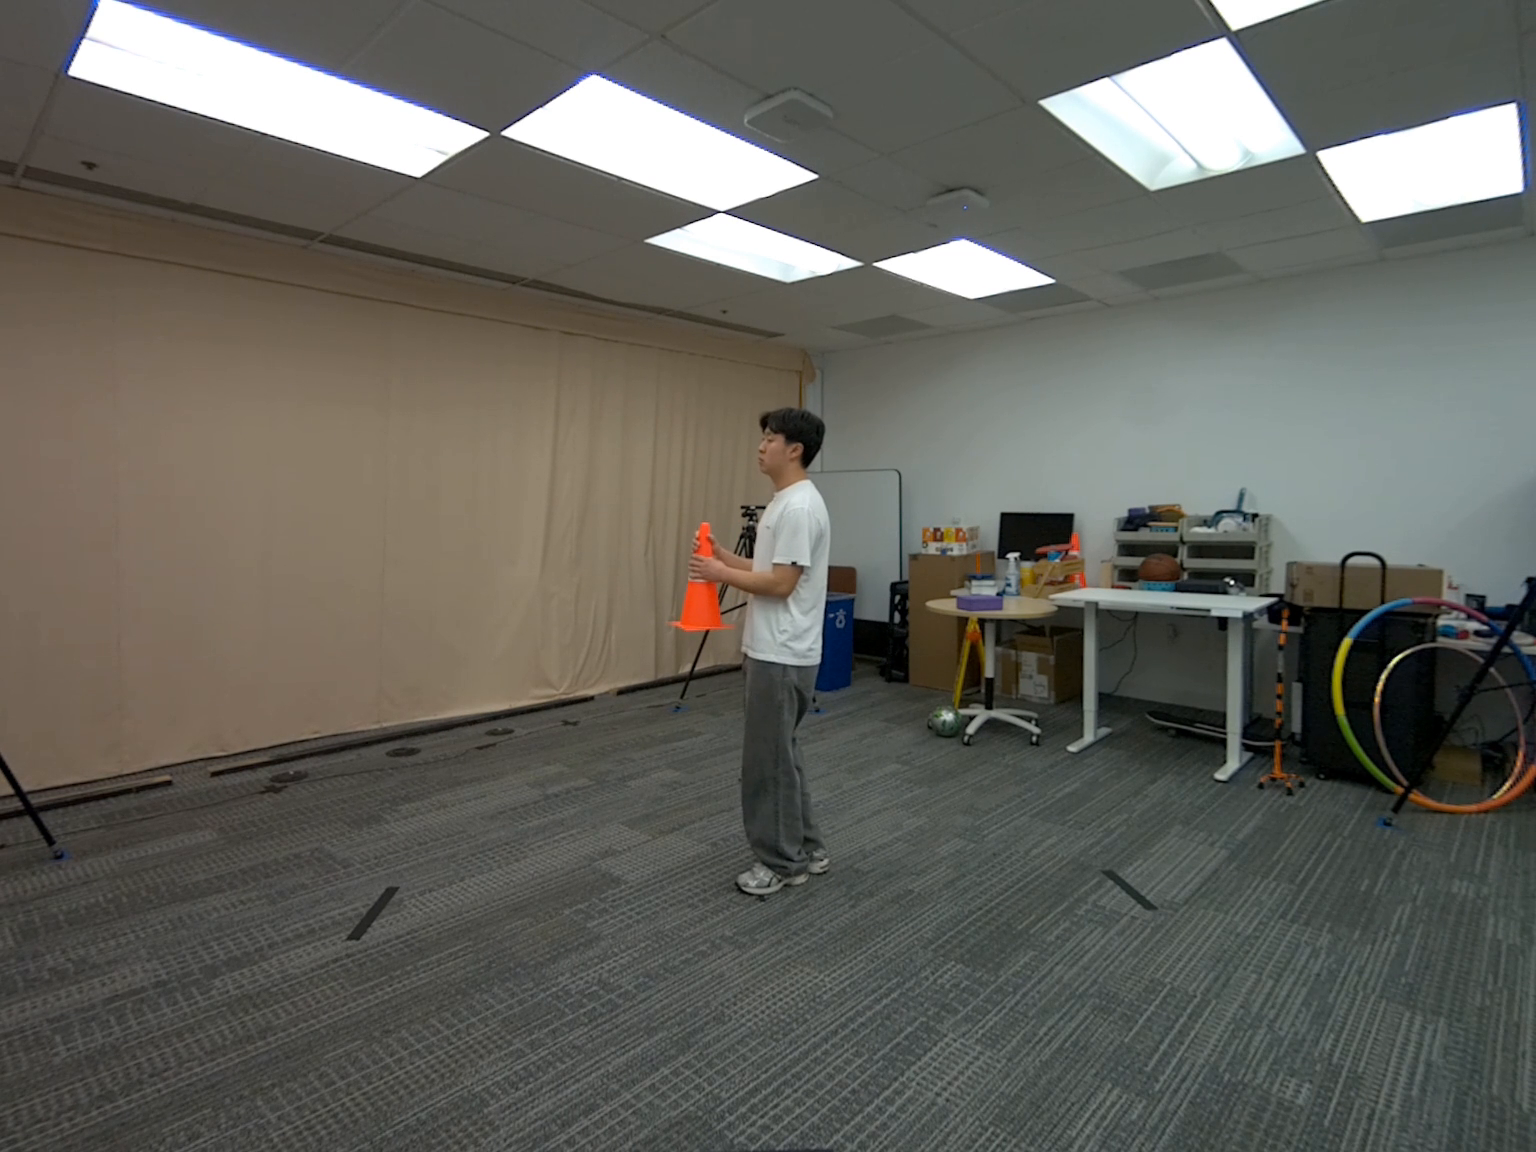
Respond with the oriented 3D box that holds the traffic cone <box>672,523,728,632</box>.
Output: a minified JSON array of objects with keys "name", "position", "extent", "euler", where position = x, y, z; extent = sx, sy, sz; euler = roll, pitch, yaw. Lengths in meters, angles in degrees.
[{"name":"traffic cone","position":[-0.229,0.004,3.145],"extent":[0.207,0.383,0.201],"euler":[4,3,17]}]
